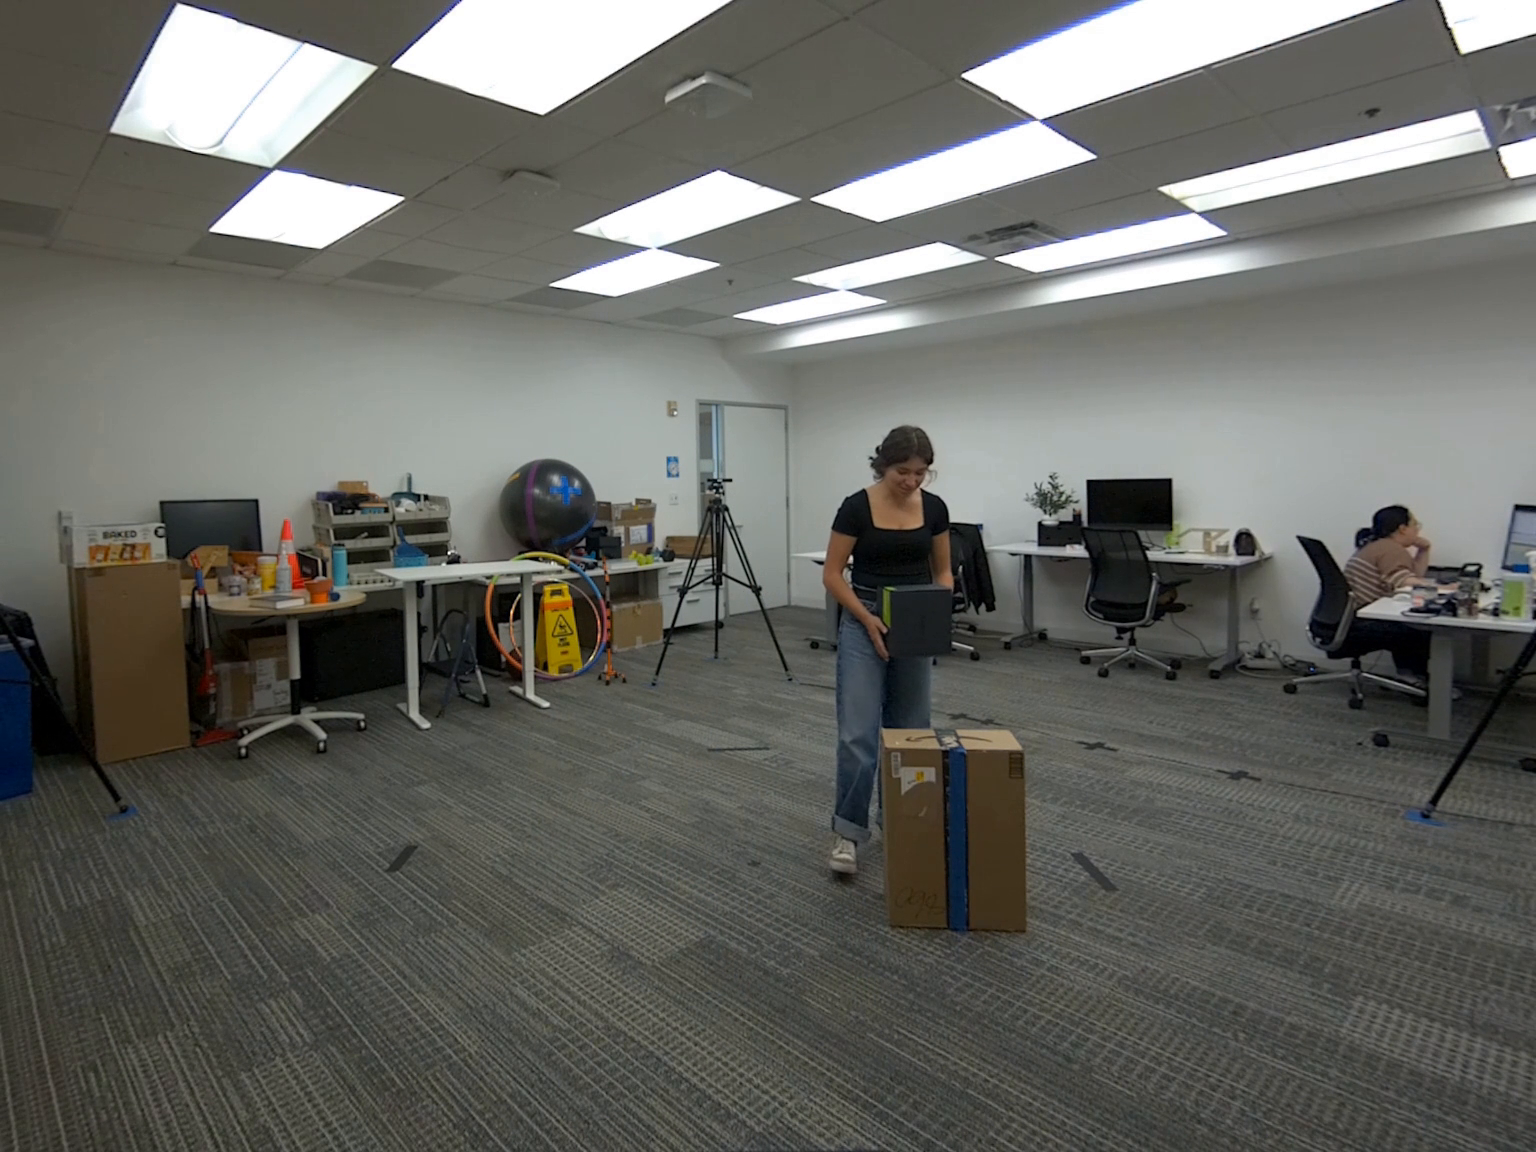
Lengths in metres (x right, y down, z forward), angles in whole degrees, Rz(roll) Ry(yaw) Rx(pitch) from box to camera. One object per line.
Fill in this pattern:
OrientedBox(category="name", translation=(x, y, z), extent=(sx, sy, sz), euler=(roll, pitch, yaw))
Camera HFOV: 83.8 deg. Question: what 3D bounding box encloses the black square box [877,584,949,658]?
OrientedBox(category="black square box", translation=(0.481, 0.150, 2.946), extent=(0.215, 0.227, 0.158), euler=(0, 4, -10))
